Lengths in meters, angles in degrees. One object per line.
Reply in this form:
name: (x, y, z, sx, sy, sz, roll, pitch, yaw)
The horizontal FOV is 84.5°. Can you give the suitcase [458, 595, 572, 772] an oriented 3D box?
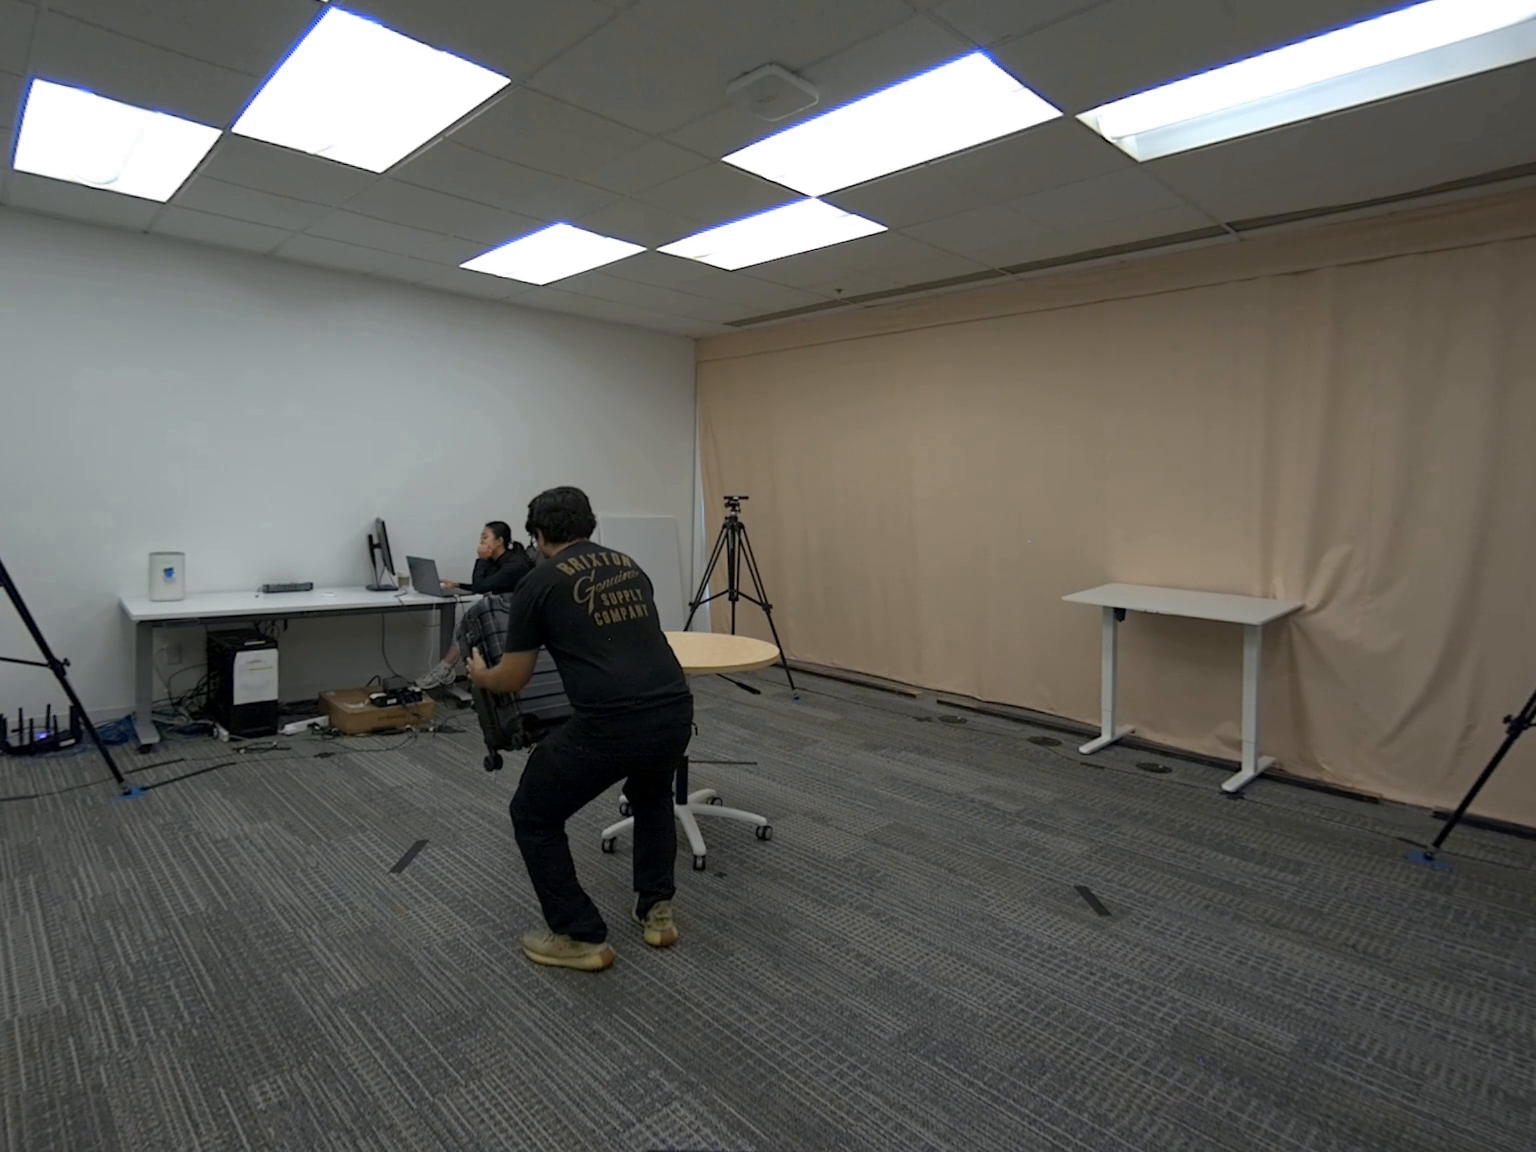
suitcase: (-0.837, 0.336, 2.884, 0.367, 0.560, 0.249, -2, -28, -47)
